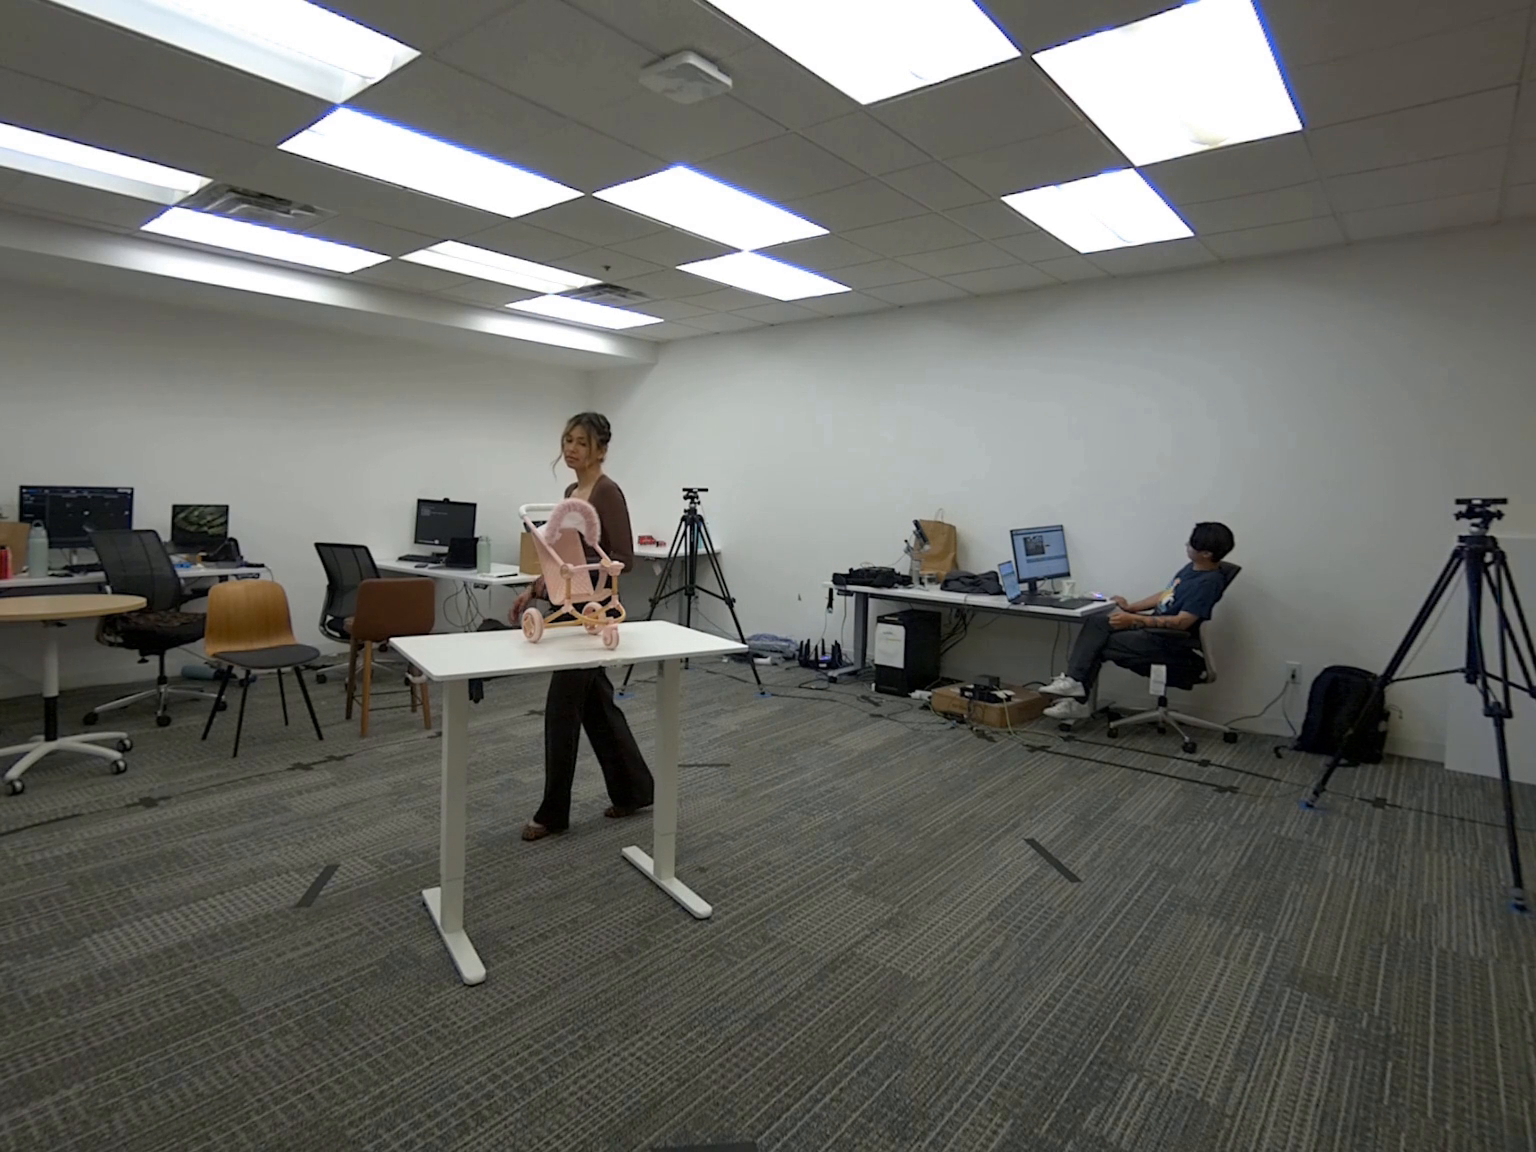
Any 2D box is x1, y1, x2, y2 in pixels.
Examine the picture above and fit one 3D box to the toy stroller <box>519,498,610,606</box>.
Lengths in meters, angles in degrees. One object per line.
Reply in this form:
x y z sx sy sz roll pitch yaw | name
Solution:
-0.639 -0.013 2.775 0.273 0.539 0.349 -2 -9 -43 | toy stroller
